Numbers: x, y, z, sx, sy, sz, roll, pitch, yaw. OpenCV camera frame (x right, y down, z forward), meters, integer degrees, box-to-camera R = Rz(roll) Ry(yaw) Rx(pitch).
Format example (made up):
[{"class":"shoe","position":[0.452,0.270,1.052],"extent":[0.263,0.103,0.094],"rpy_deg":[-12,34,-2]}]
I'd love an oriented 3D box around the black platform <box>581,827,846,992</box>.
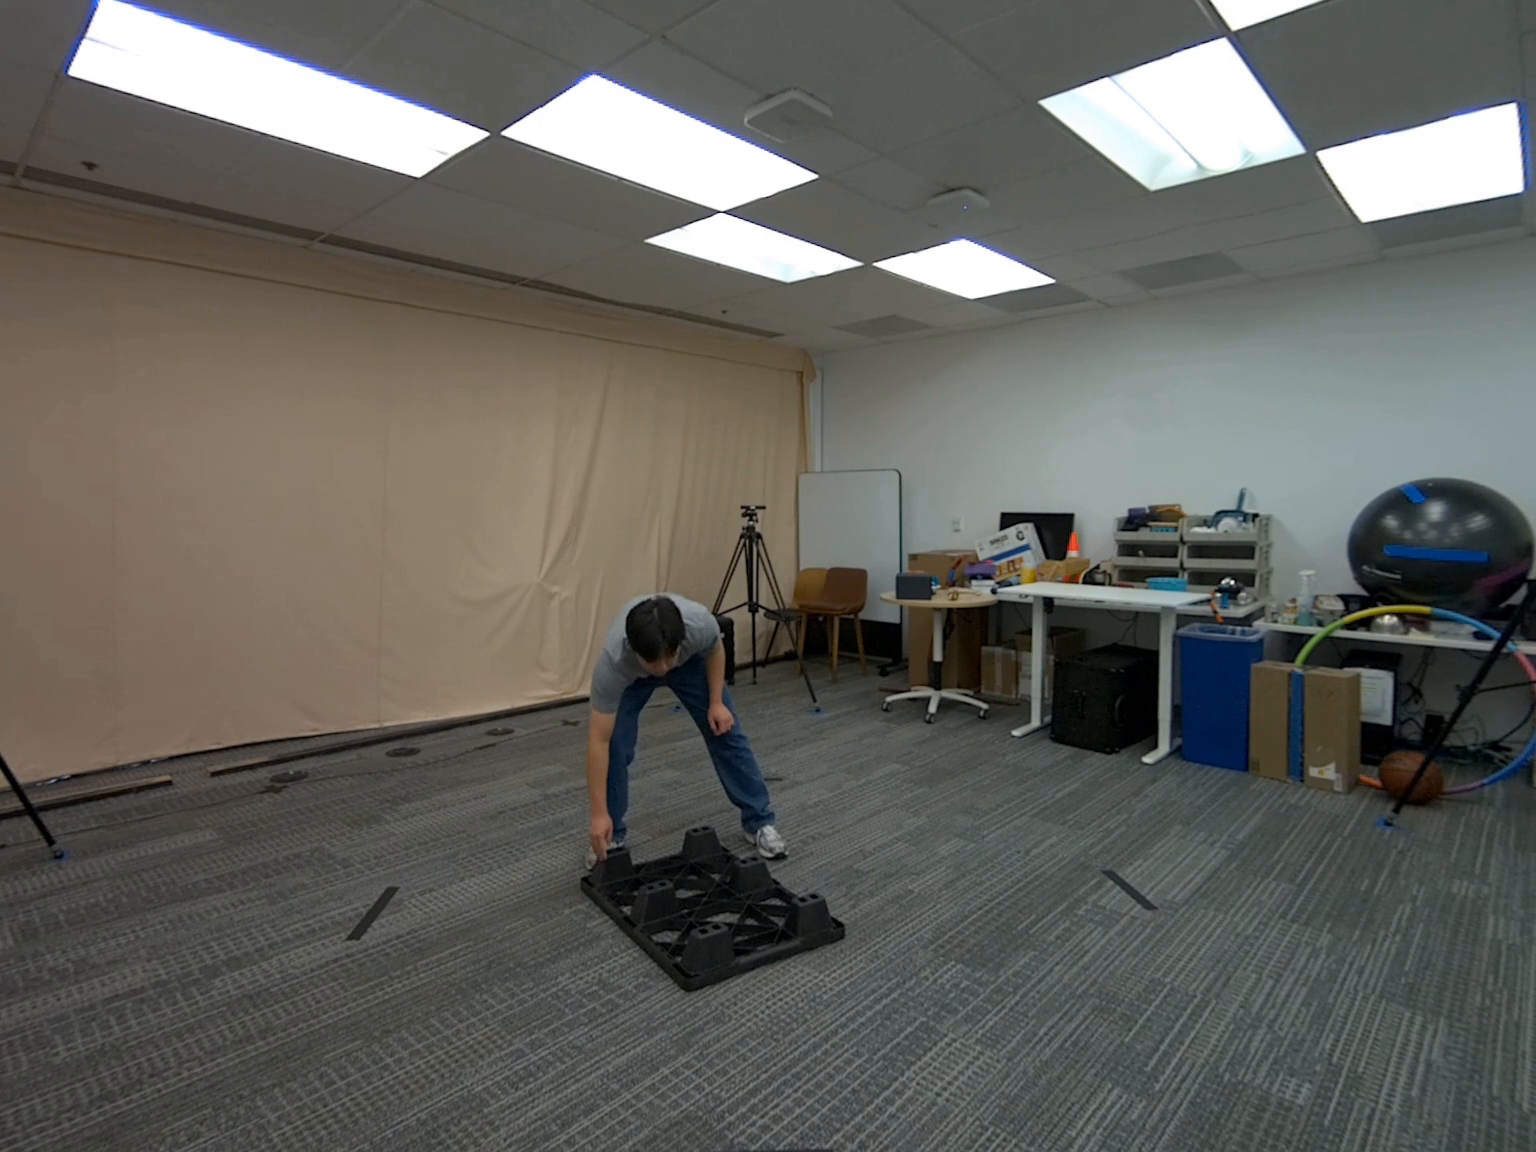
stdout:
[{"class":"black platform","position":[-0.210,1.087,2.886],"extent":[0.588,0.143,0.831],"rpy_deg":[-4,6,-34]}]
